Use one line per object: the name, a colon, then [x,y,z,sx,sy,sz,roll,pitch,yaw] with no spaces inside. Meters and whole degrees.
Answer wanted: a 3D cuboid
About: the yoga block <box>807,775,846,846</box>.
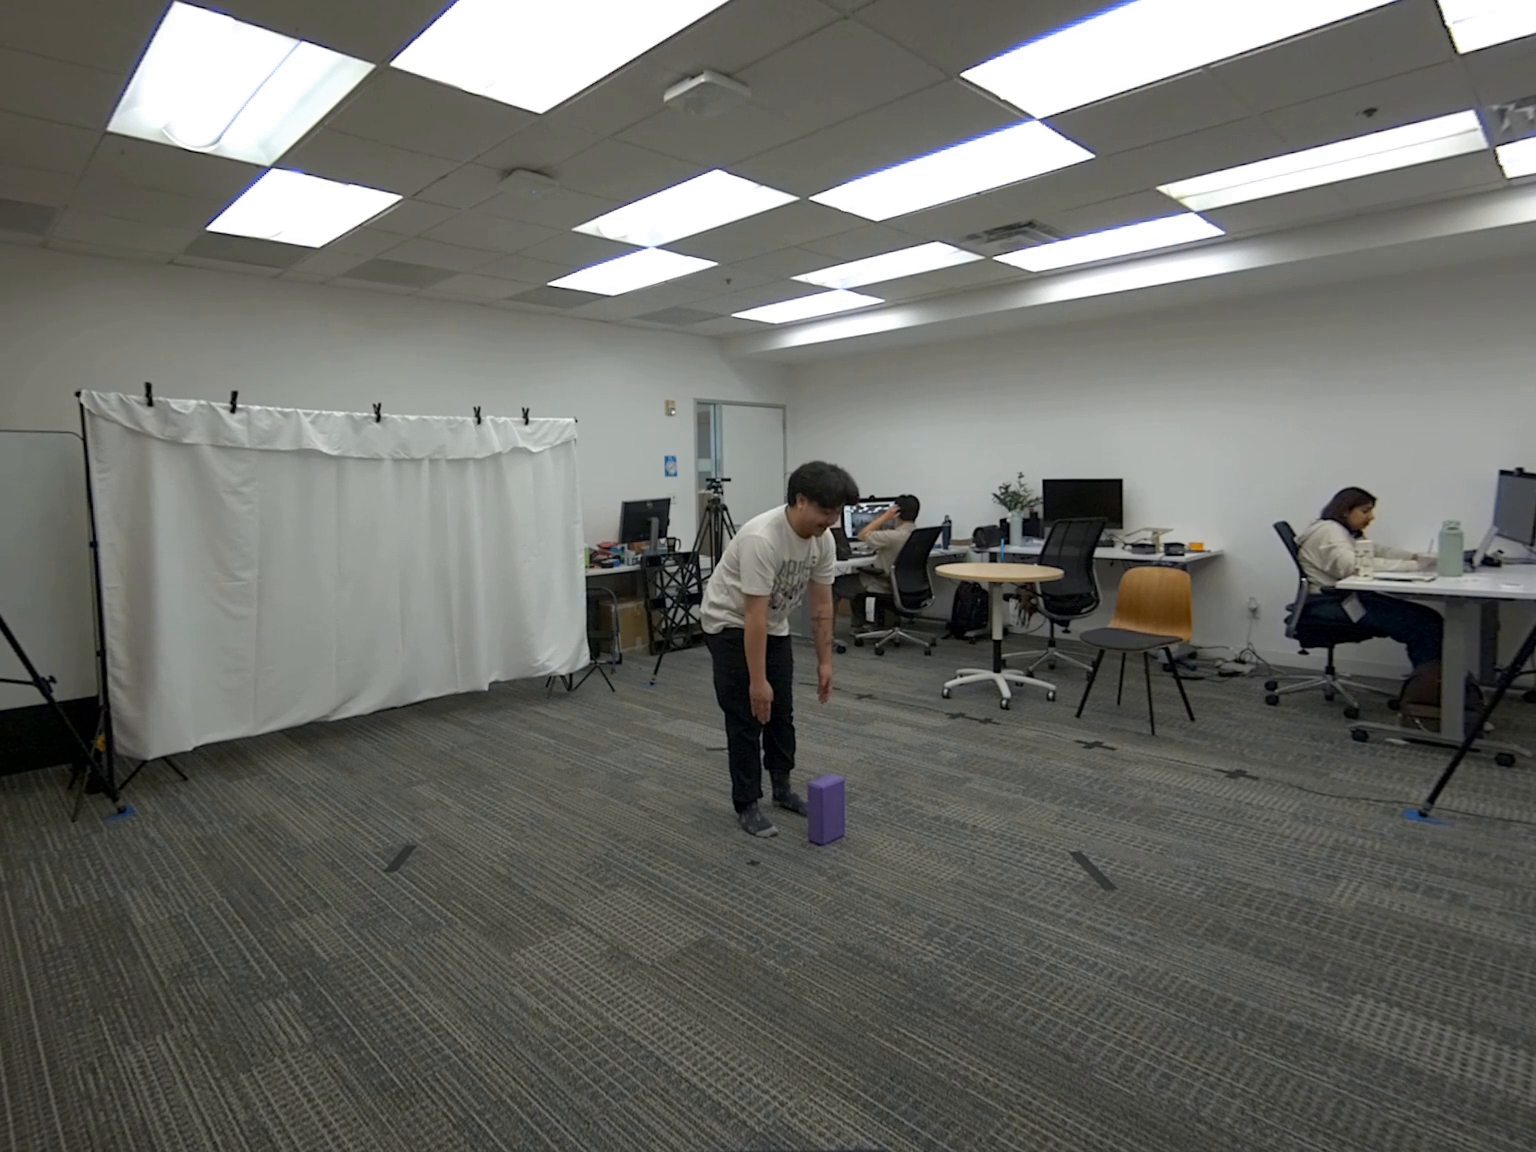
yoga block: [0.232,0.901,3.302,0.079,0.229,0.145,3,4,44]
